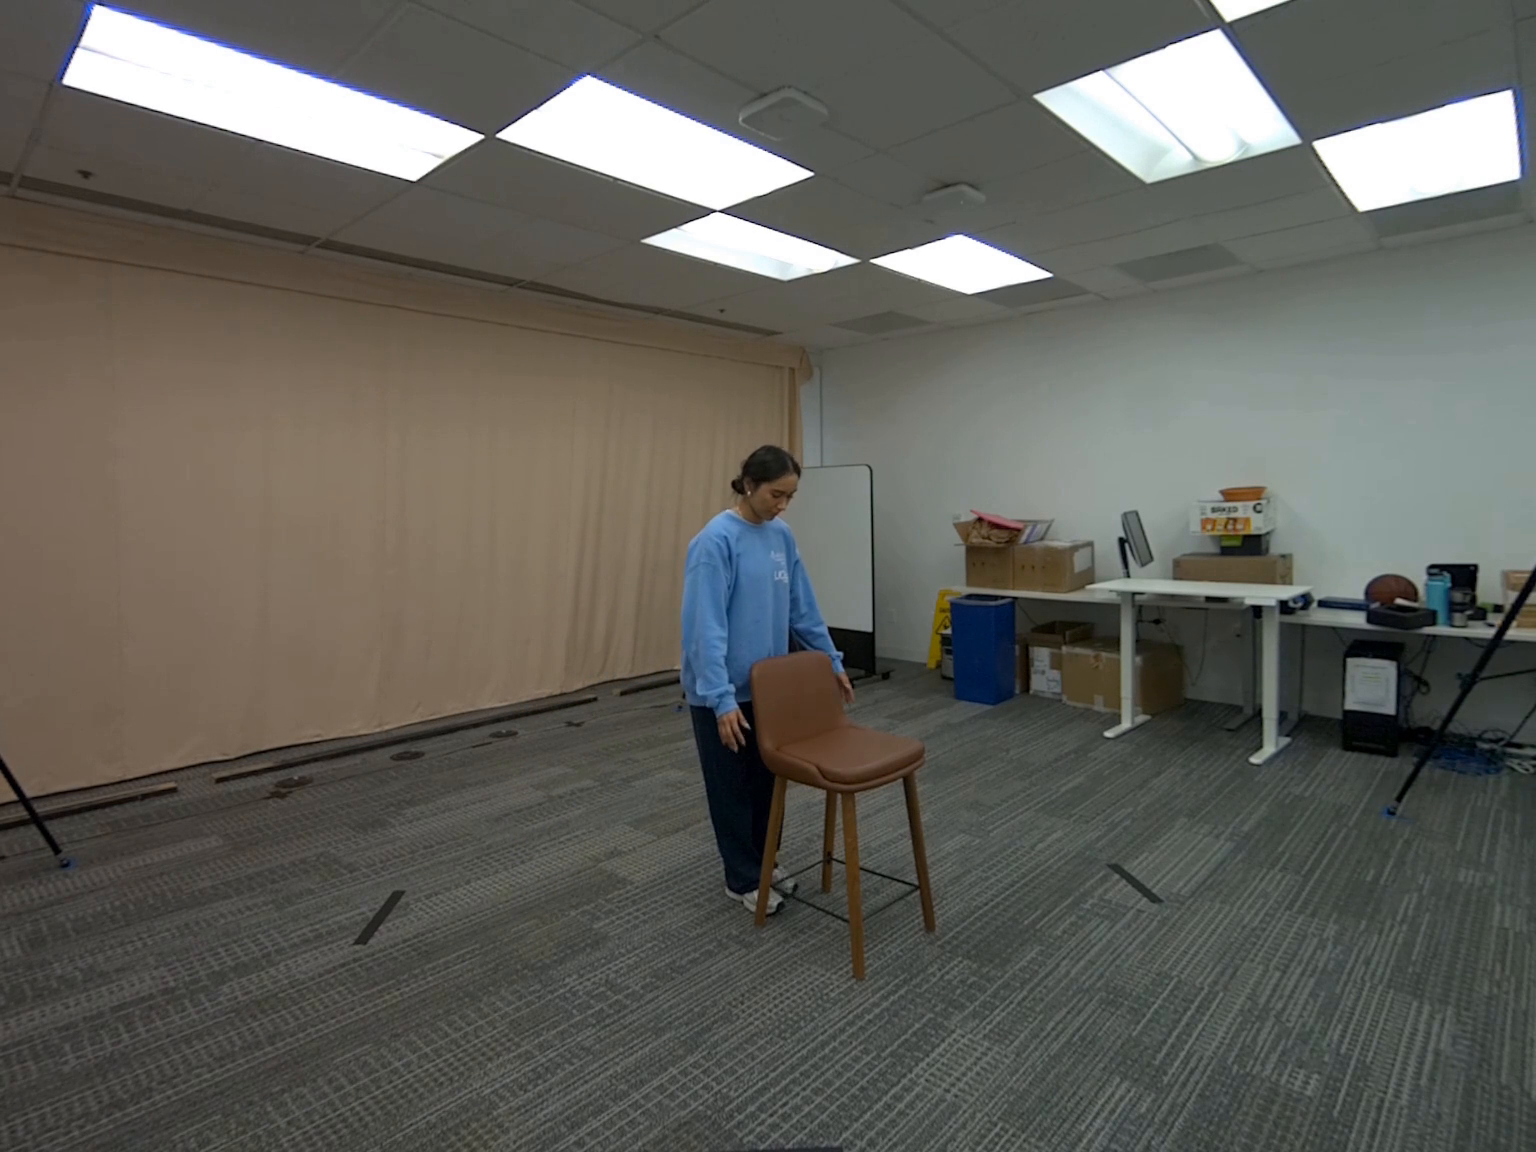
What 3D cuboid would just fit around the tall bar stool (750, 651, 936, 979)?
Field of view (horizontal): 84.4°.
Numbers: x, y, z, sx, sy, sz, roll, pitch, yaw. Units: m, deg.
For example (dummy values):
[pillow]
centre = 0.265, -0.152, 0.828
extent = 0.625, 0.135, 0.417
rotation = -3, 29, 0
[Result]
[tall bar stool]
centre = 0.238, 0.721, 2.734
extent = 0.442, 0.889, 0.483
rotation = -4, 2, -45
